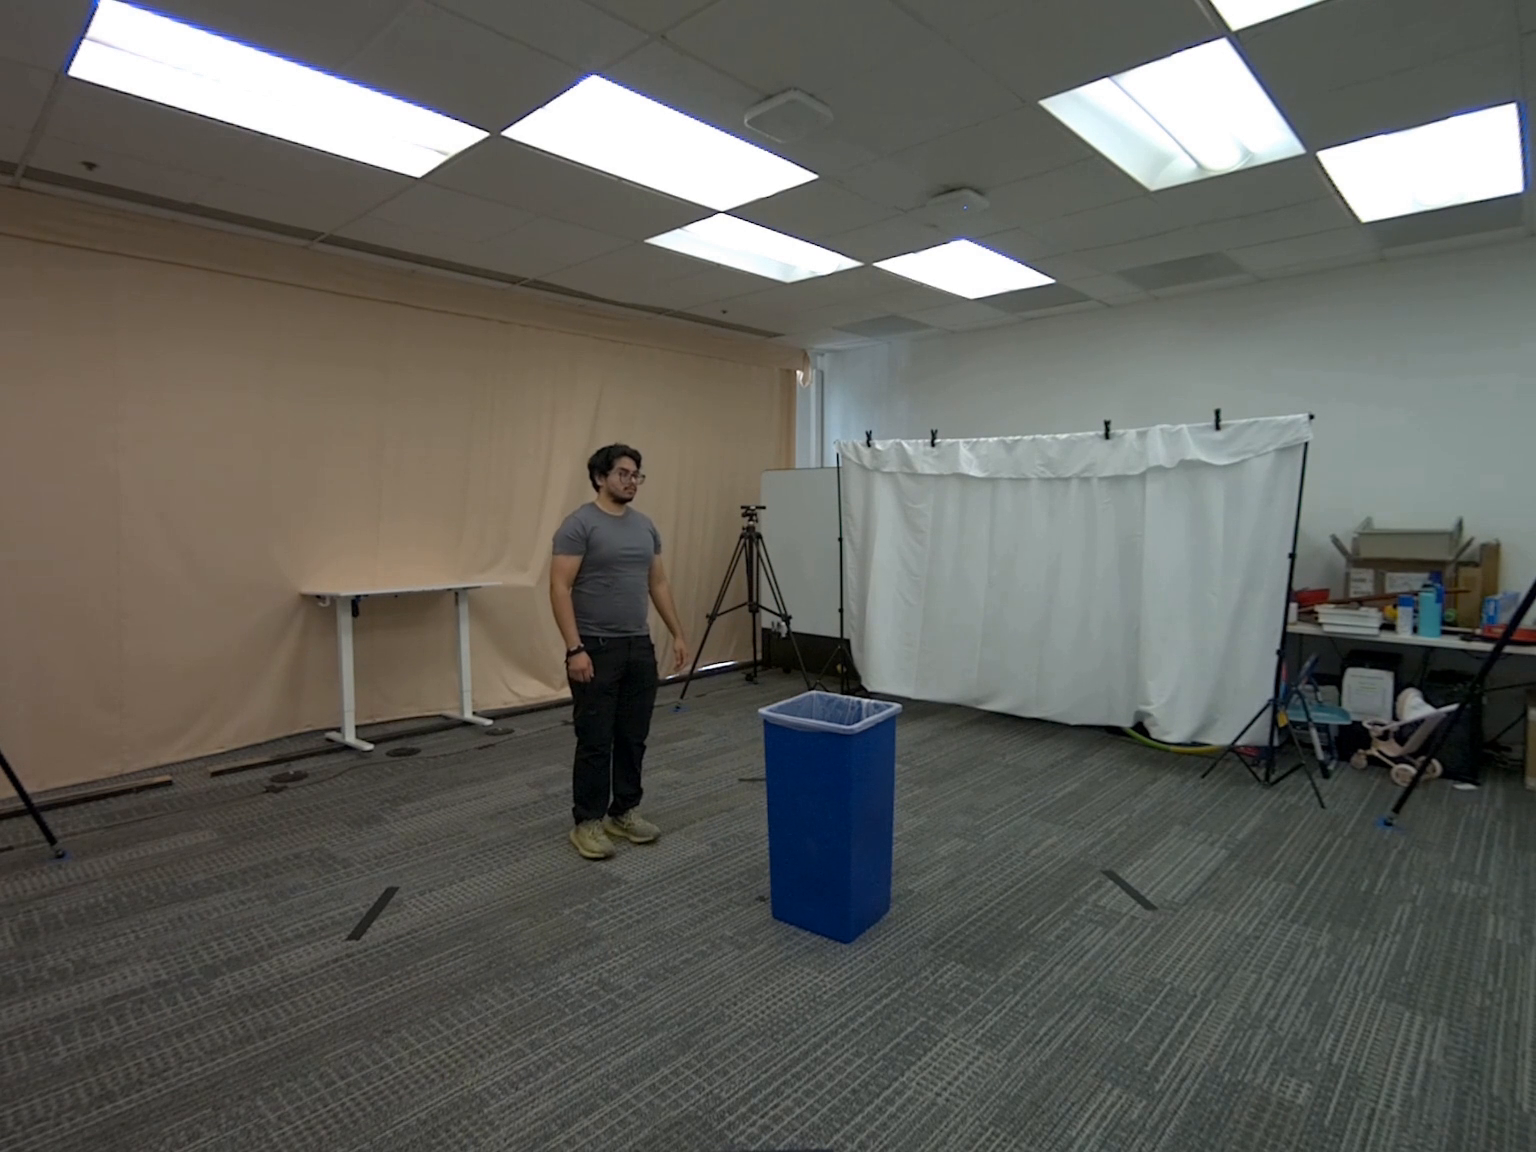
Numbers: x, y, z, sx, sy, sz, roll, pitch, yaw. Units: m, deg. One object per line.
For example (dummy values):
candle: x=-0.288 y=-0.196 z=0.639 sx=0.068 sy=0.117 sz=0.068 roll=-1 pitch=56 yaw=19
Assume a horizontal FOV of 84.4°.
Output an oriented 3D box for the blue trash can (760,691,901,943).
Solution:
blue trash can: x=0.215 y=0.796 z=2.846 sx=0.390 sy=0.712 sz=0.363 roll=2 pitch=4 yaw=37
